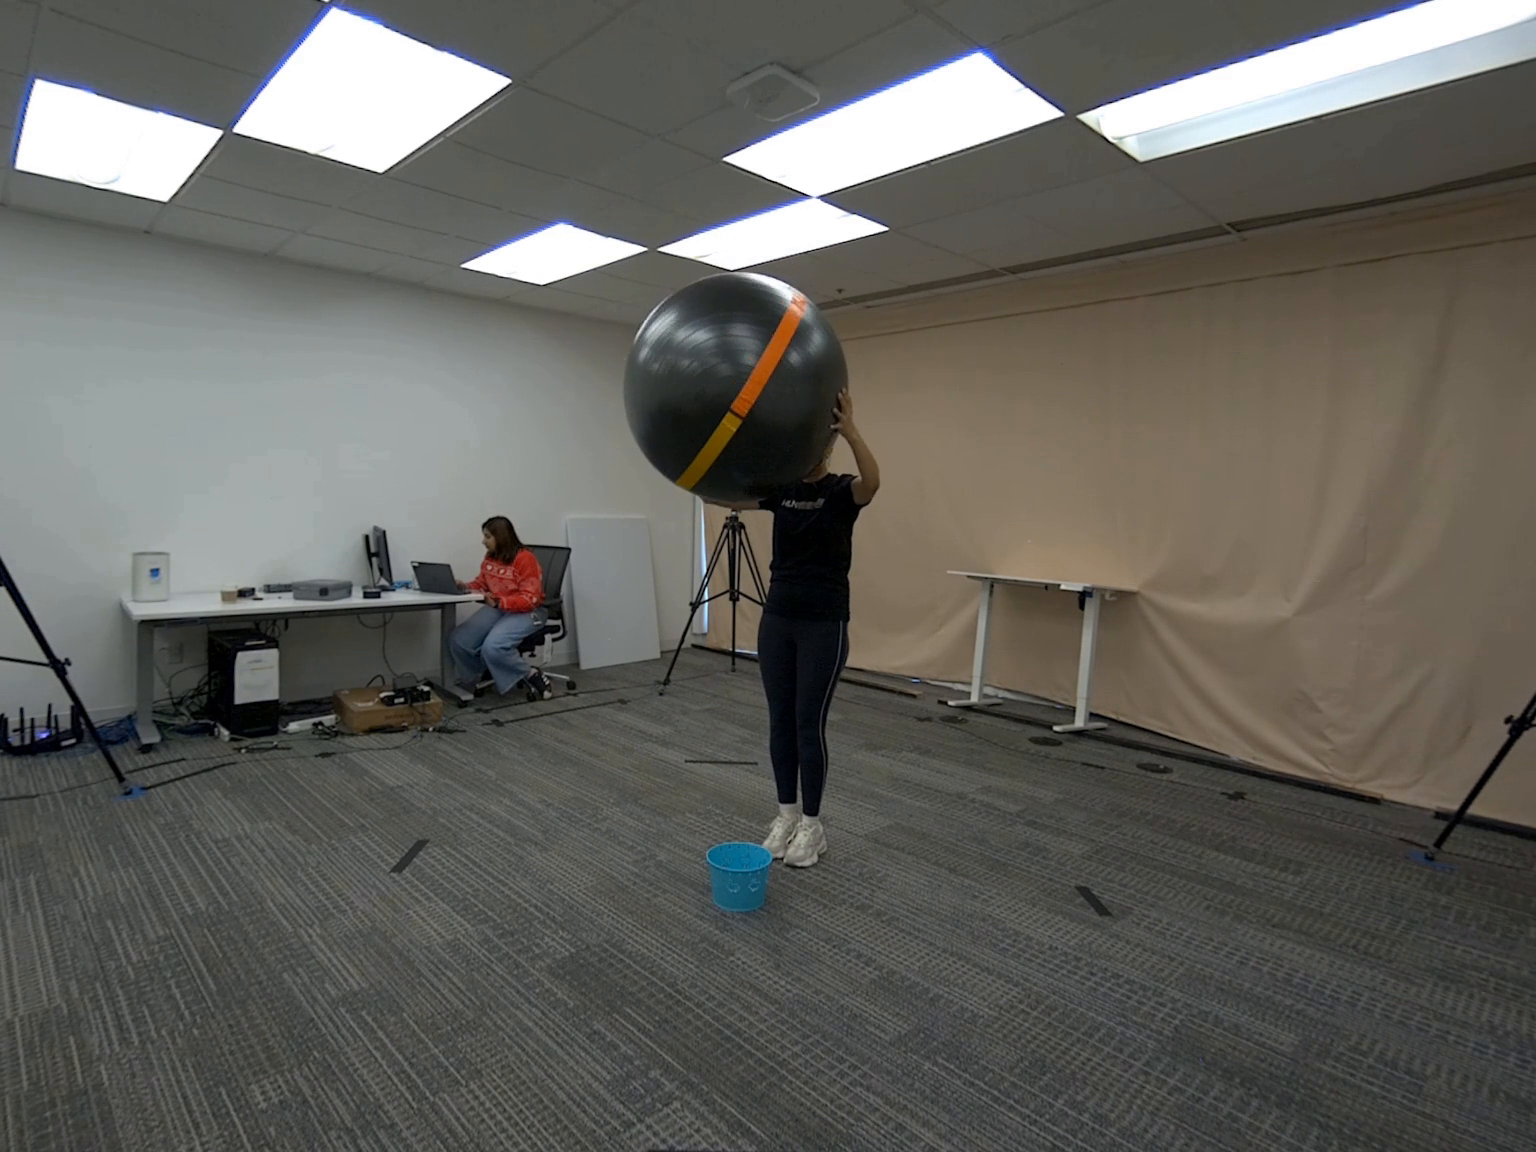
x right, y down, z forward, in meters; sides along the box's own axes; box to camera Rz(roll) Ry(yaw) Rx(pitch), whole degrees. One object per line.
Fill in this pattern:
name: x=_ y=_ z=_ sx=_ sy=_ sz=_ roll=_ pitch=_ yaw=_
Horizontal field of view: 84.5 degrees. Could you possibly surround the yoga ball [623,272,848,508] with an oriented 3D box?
yoga ball: x=-0.110 y=-0.612 z=2.841 sx=0.757 sy=0.756 sz=0.761 roll=1 pitch=4 yaw=-1
